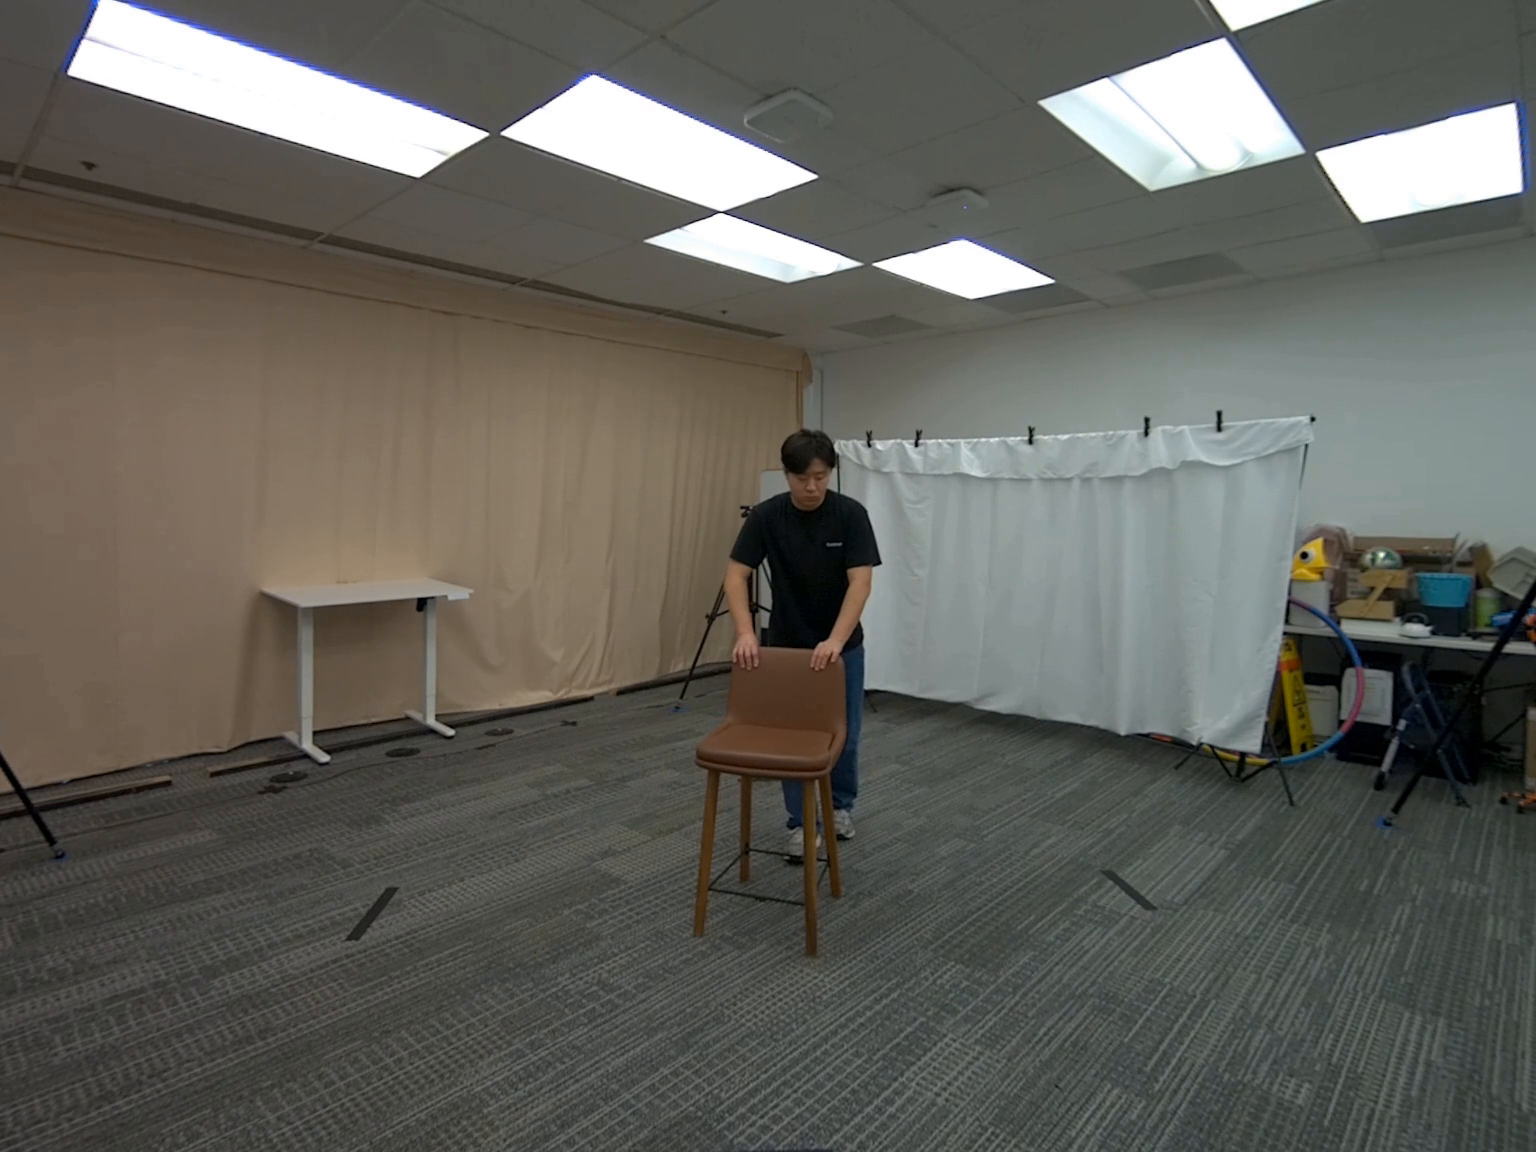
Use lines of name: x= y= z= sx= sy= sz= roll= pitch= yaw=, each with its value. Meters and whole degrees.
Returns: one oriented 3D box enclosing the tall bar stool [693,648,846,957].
tall bar stool: x=0.021 y=0.719 z=2.853 sx=0.466 sy=0.889 sz=0.458 roll=1 pitch=1 yaw=20
